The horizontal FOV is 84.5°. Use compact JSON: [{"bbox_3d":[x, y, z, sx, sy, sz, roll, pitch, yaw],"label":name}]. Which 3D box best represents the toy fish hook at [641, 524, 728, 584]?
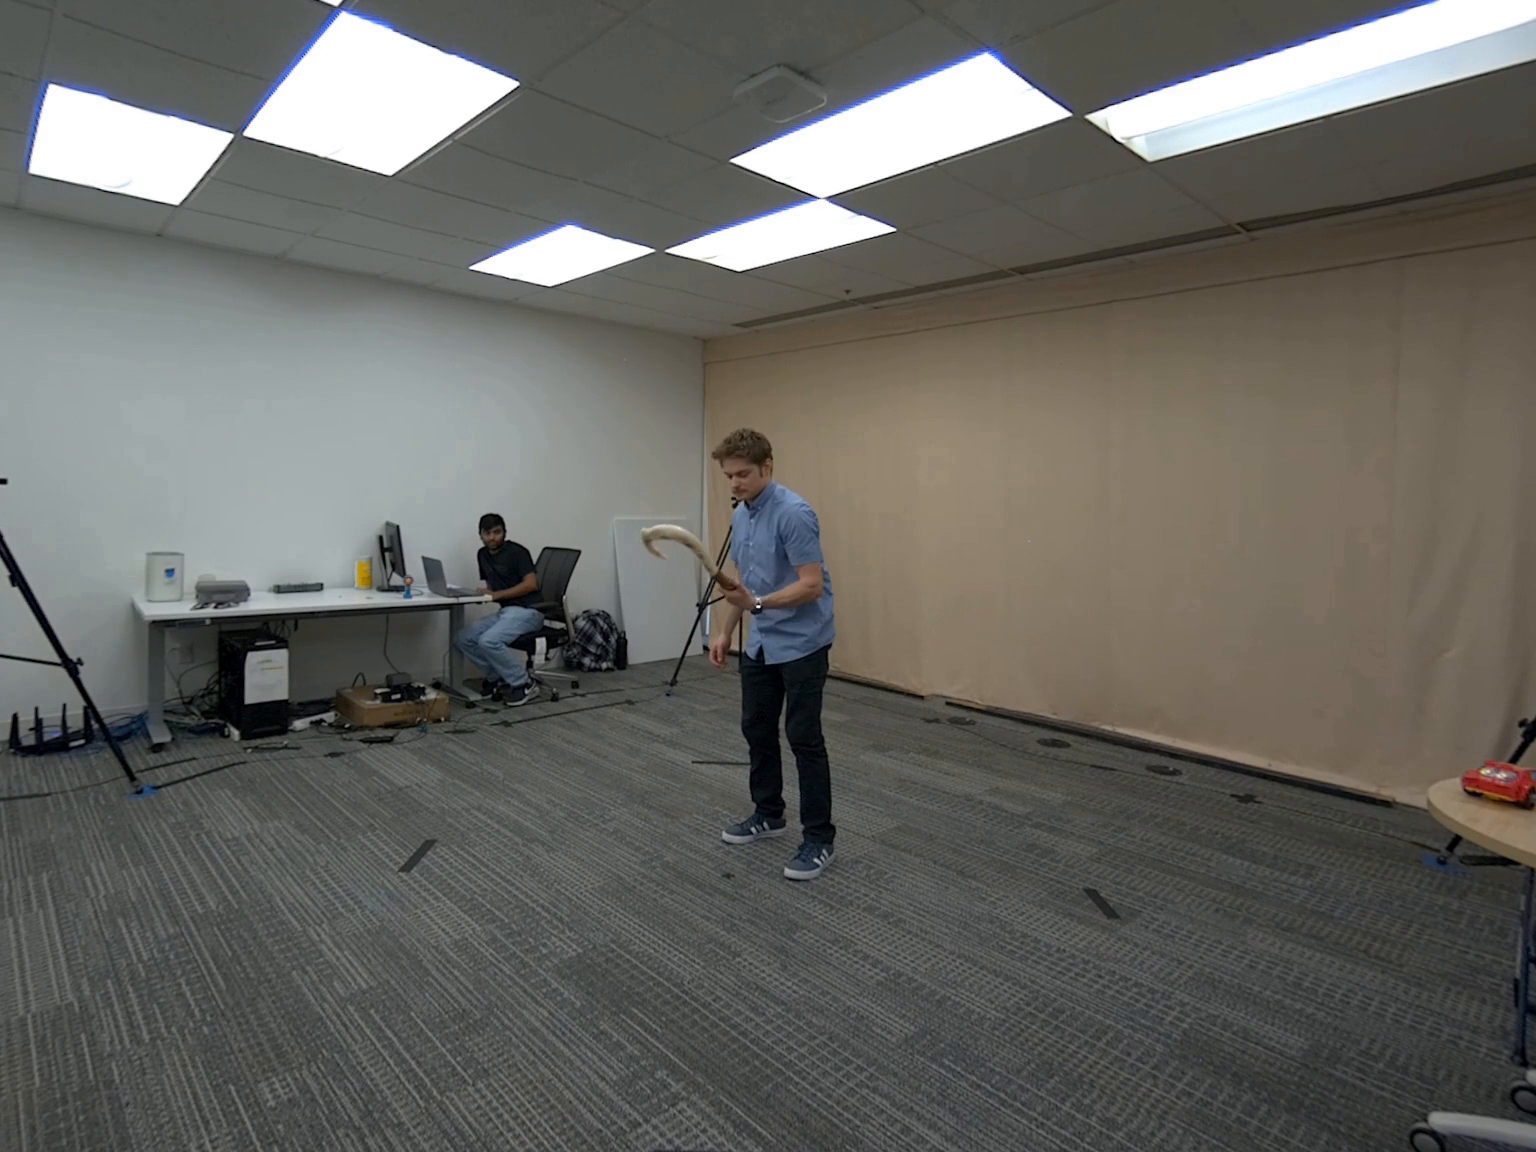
[{"bbox_3d":[-0.262,-0.013,2.962,0.229,0.049,0.490,-4,-35,37],"label":"toy fish hook"}]
